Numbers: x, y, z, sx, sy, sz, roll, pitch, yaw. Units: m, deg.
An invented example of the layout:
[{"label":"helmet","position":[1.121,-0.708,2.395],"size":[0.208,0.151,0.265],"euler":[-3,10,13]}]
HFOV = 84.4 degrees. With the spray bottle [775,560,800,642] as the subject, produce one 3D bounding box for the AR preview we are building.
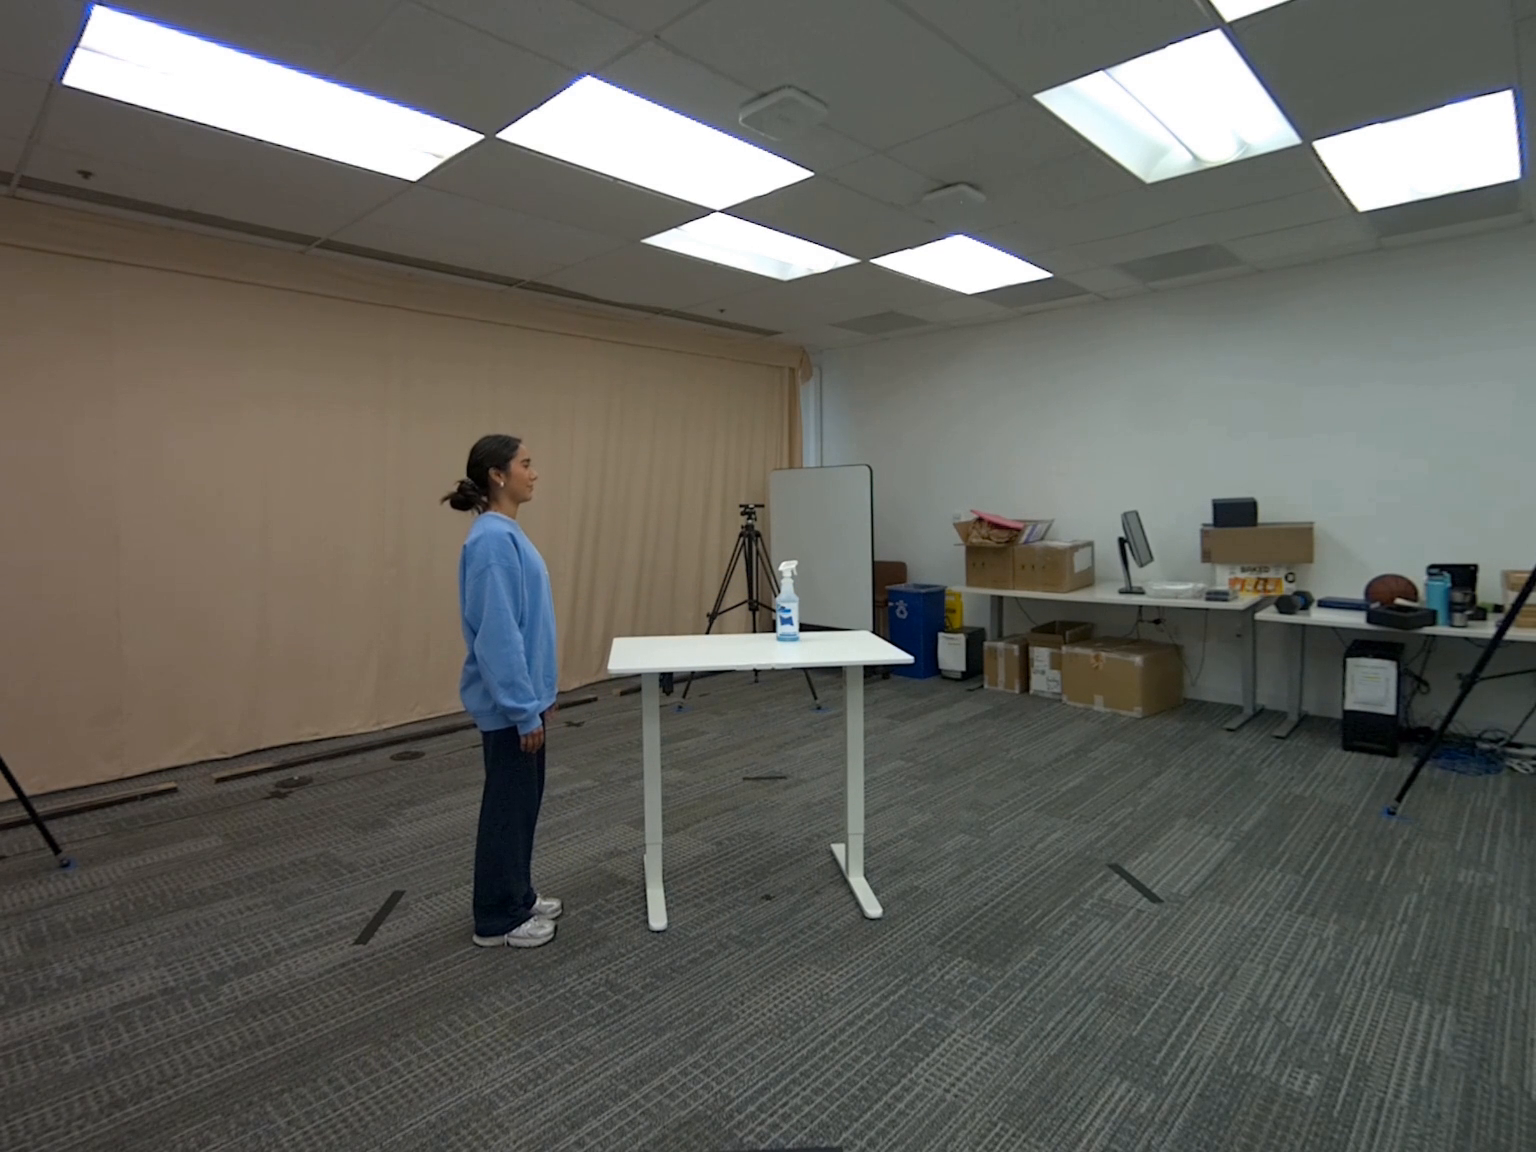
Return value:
[{"label":"spray bottle","position":[0.078,0.095,3.157],"size":[0.088,0.296,0.088],"euler":[-1,4,-16]}]
